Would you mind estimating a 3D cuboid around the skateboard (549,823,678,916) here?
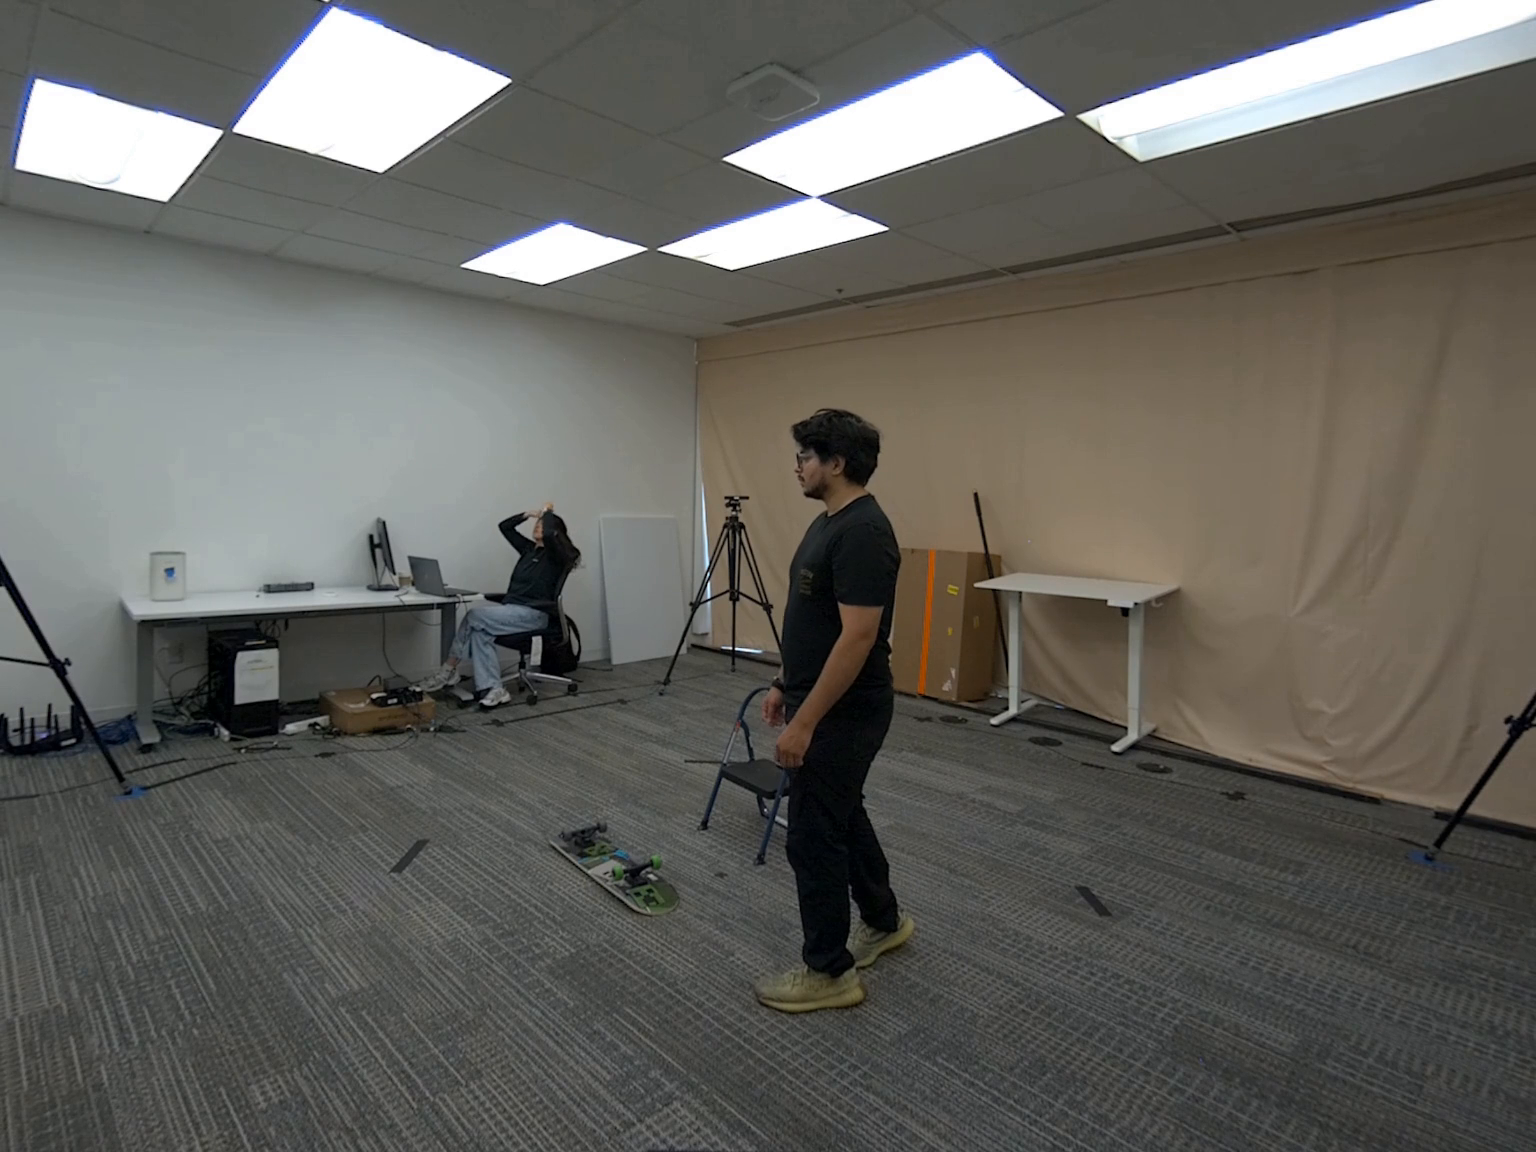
[{"bbox_3d":[-0.595,1.041,3.117,0.189,0.110,0.805,-2,6,-38],"label":"skateboard"}]
